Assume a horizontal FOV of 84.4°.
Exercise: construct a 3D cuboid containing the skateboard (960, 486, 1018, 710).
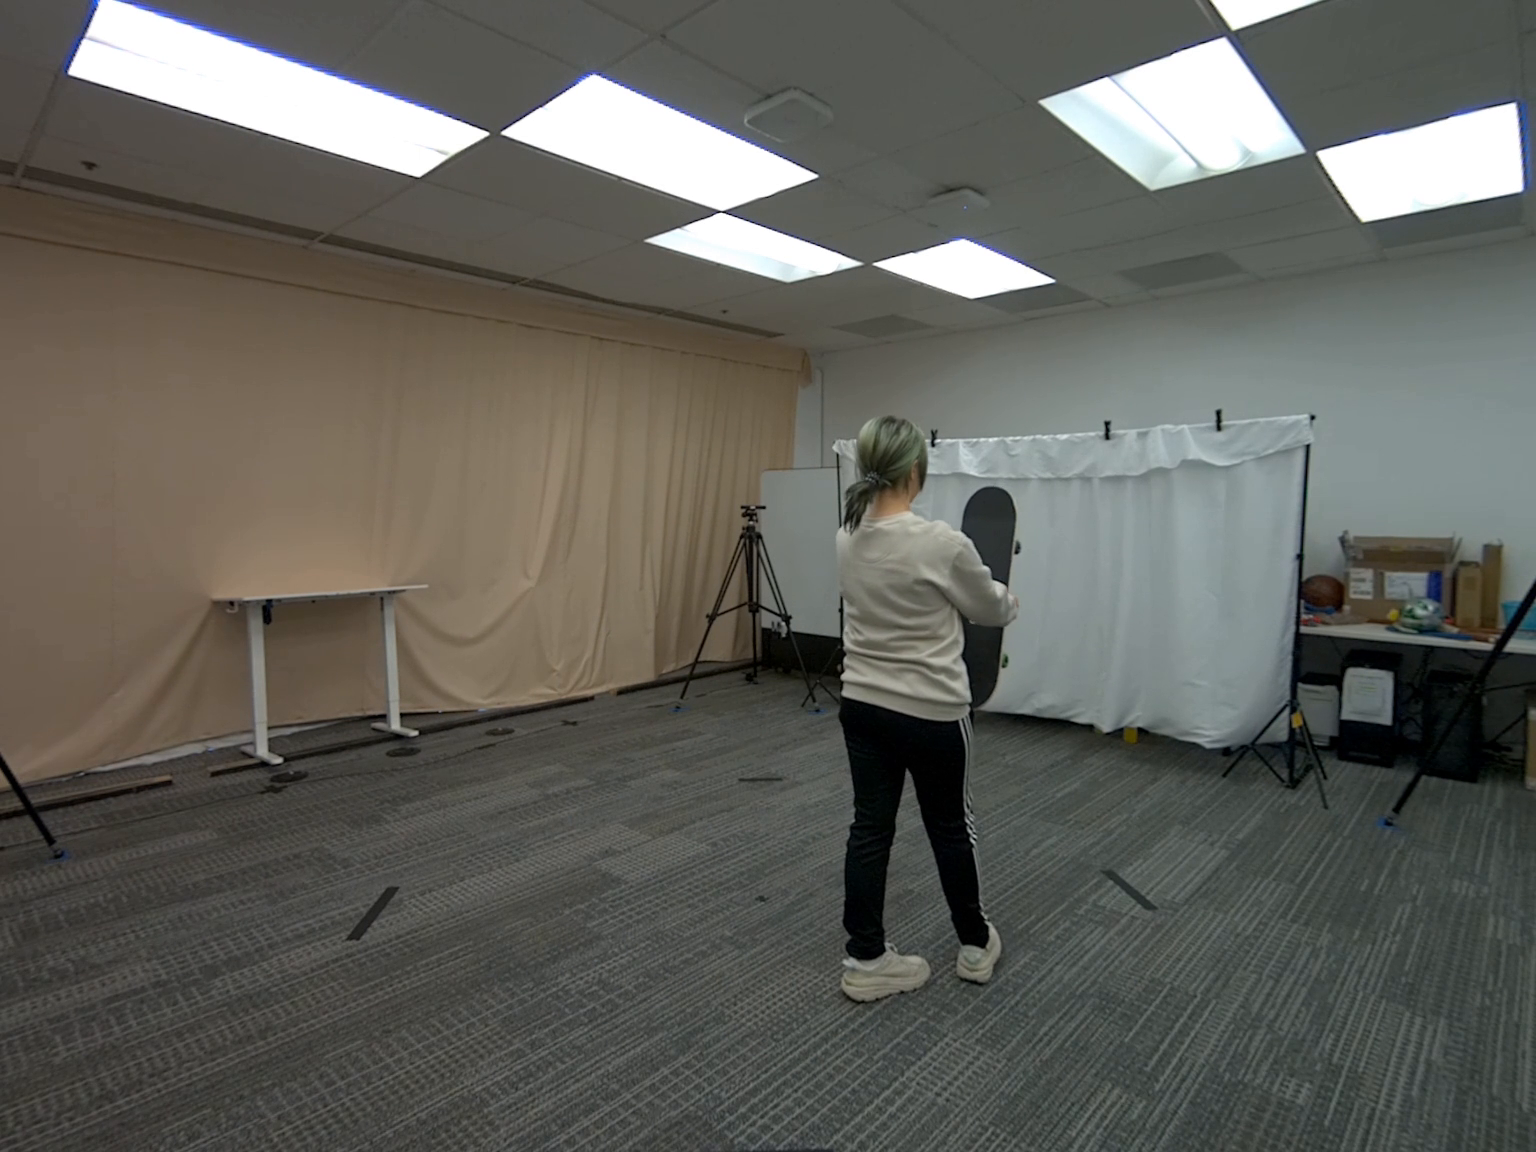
[{"bbox_3d":[0.725,0.080,2.797,0.199,0.791,0.106,-3,-25,35],"label":"skateboard"}]
